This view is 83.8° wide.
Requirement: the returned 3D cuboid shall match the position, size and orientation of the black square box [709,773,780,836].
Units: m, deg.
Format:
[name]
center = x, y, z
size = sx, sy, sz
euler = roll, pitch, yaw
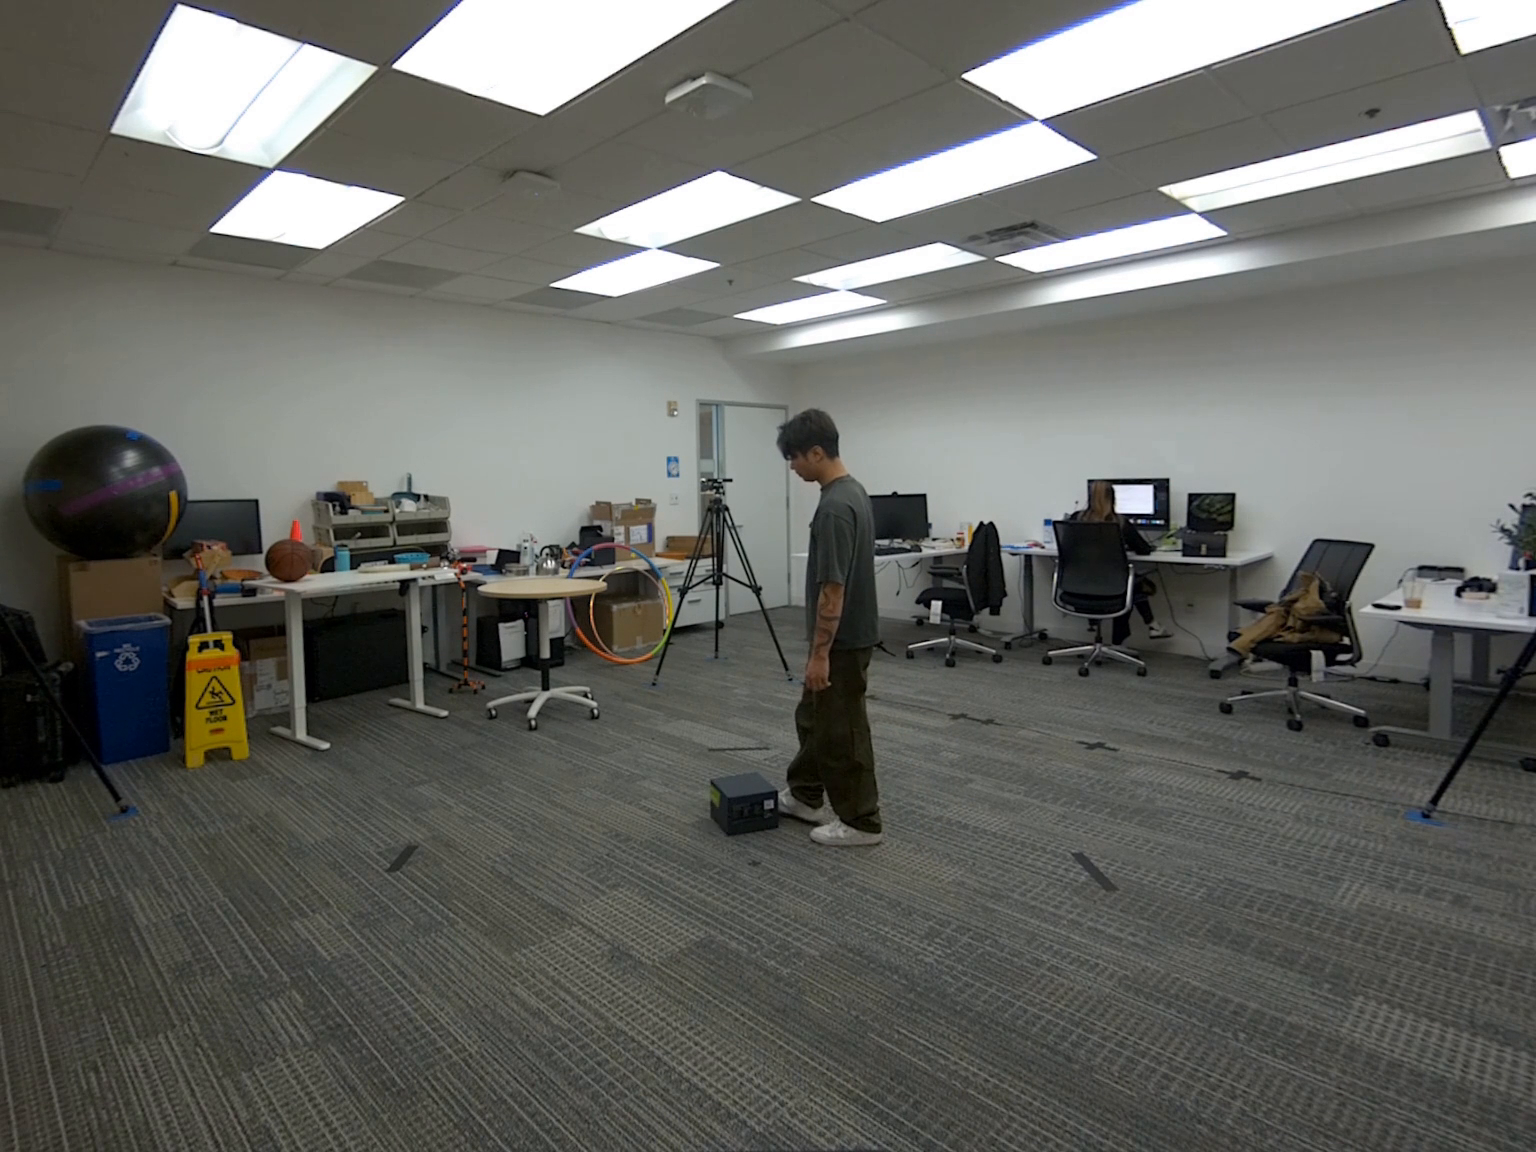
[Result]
[black square box]
center = -0.099, 0.919, 3.479
size = 0.213, 0.155, 0.233
euler = -3, 6, -21
